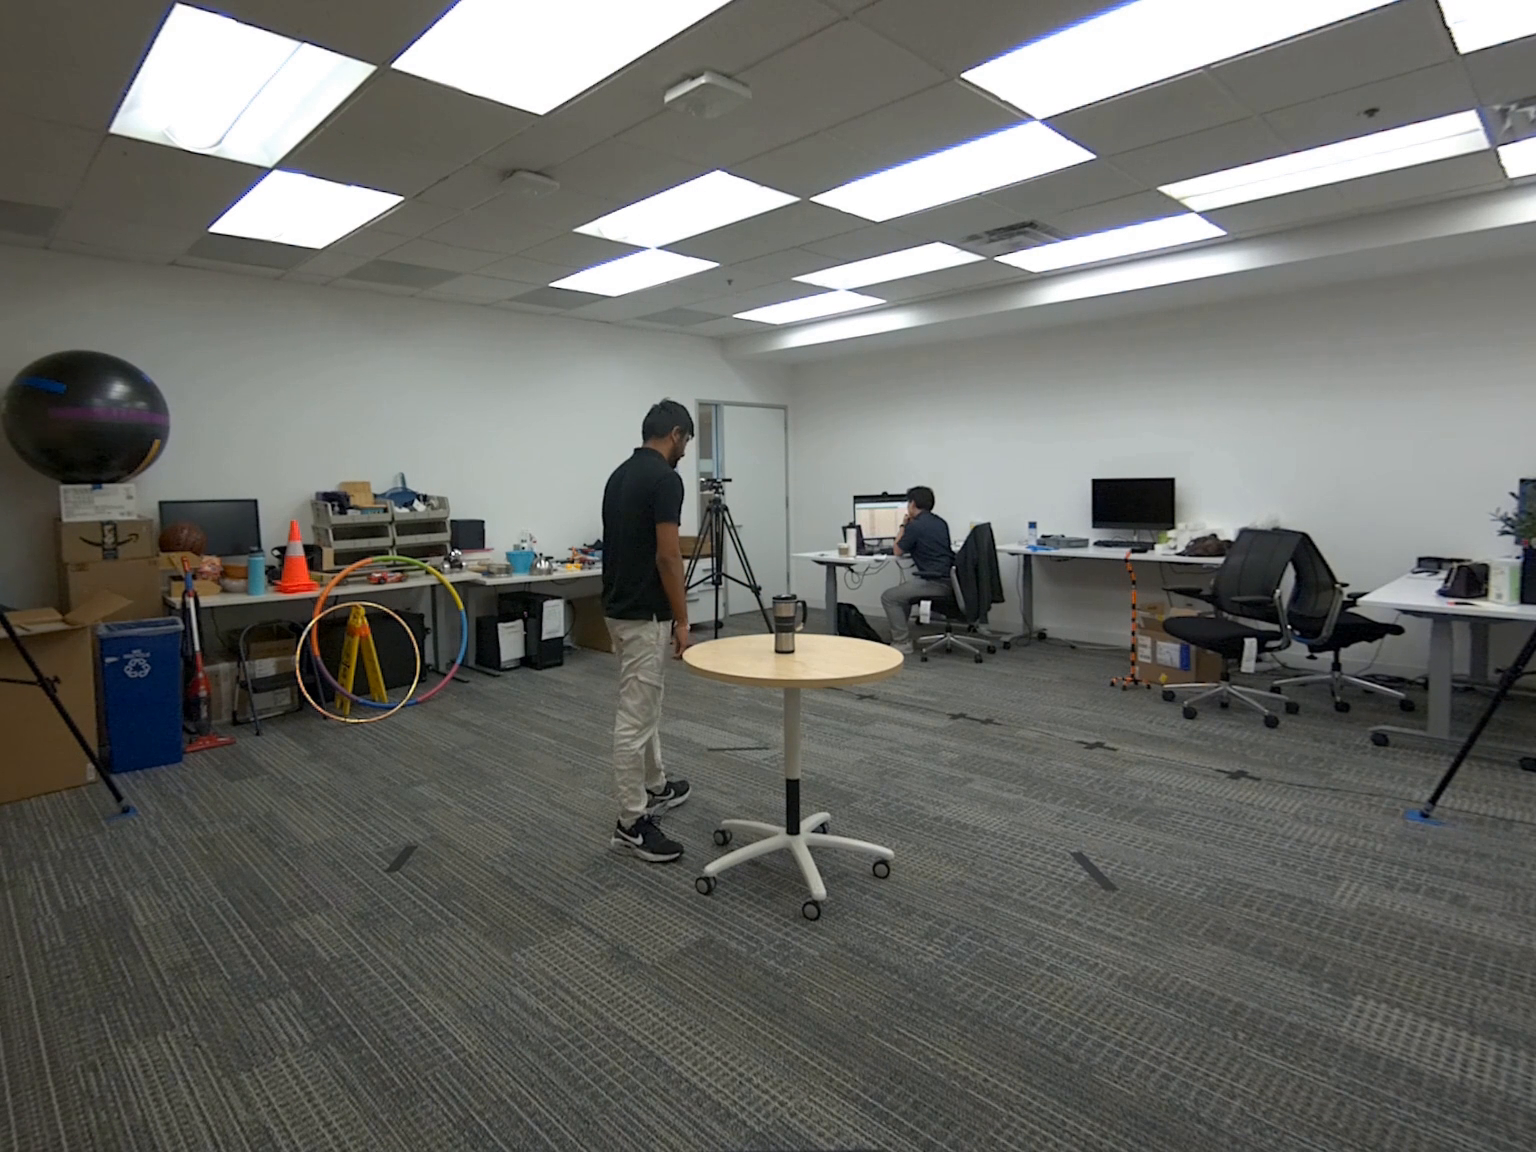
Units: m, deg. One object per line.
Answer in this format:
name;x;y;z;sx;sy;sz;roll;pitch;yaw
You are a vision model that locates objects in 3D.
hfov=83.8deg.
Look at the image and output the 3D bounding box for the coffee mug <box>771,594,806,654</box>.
coffee mug;0.081;0.172;3.000;0.124;0.203;0.086;-1;1;20
